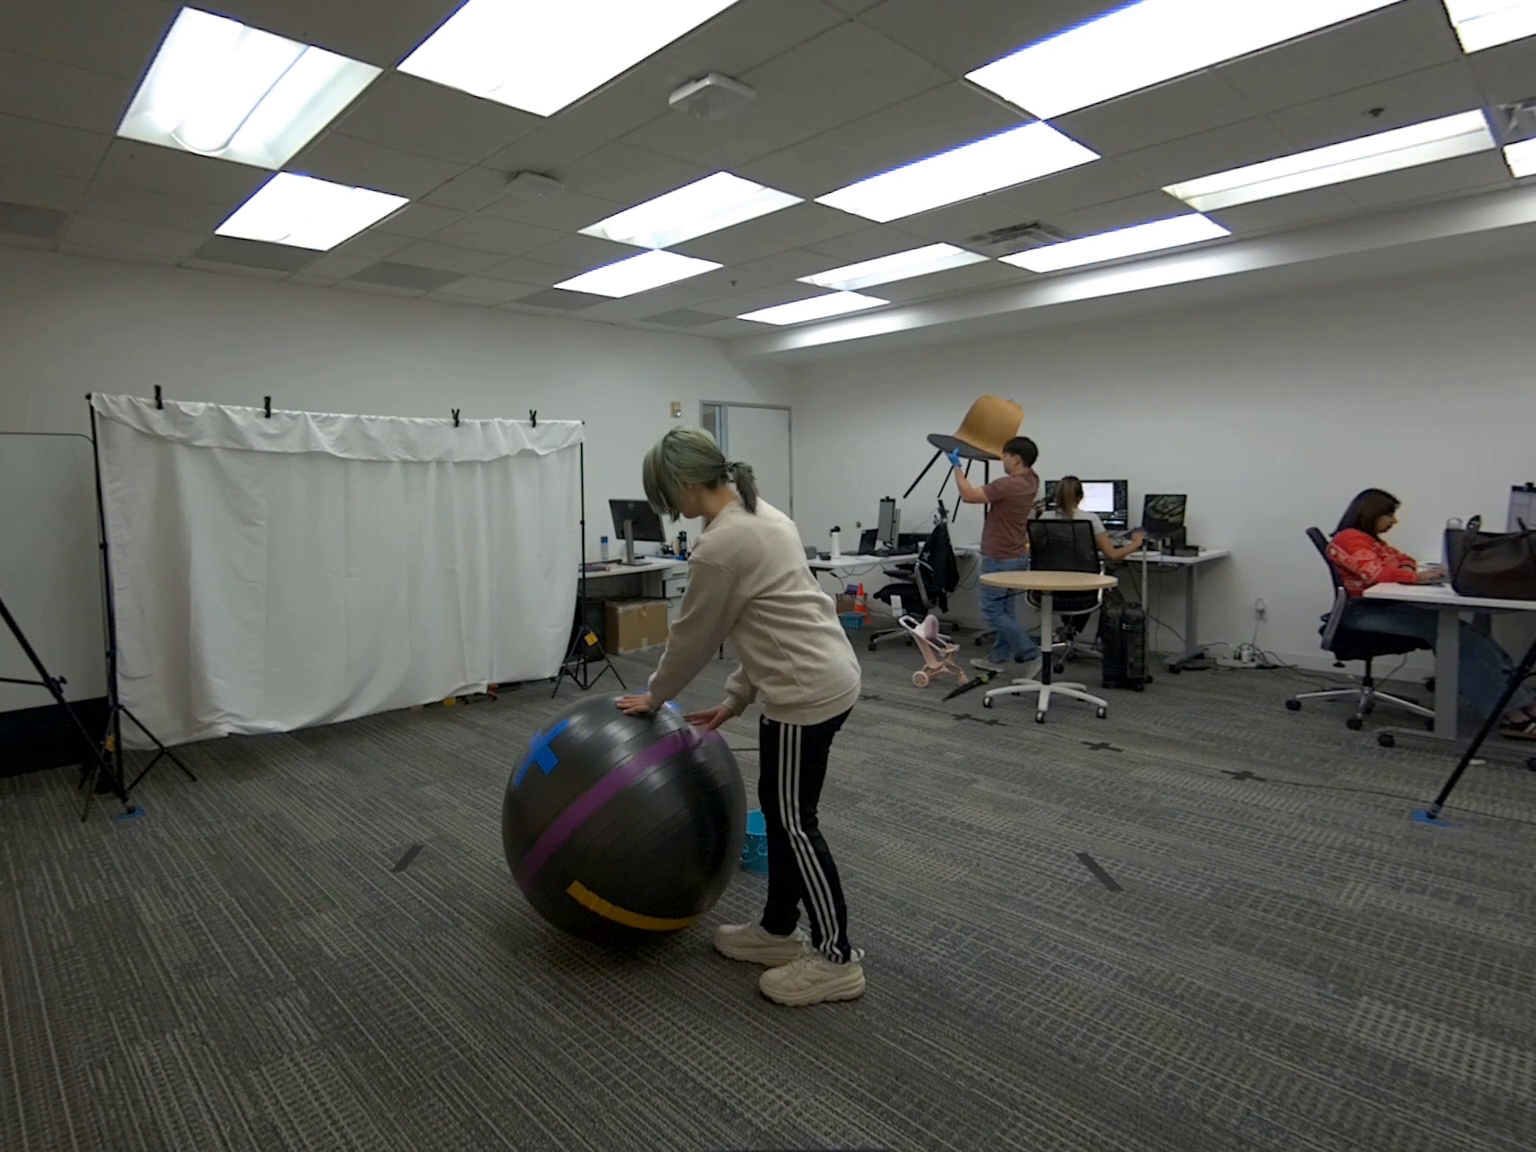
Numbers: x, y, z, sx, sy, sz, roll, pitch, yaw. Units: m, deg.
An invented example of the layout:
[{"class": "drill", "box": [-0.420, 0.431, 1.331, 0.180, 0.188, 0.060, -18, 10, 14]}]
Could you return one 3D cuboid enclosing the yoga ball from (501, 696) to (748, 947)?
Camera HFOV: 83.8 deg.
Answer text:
[{"class": "yoga ball", "box": [-0.447, 0.751, 2.665, 0.757, 0.755, 0.762, -1, 5, -2]}]
